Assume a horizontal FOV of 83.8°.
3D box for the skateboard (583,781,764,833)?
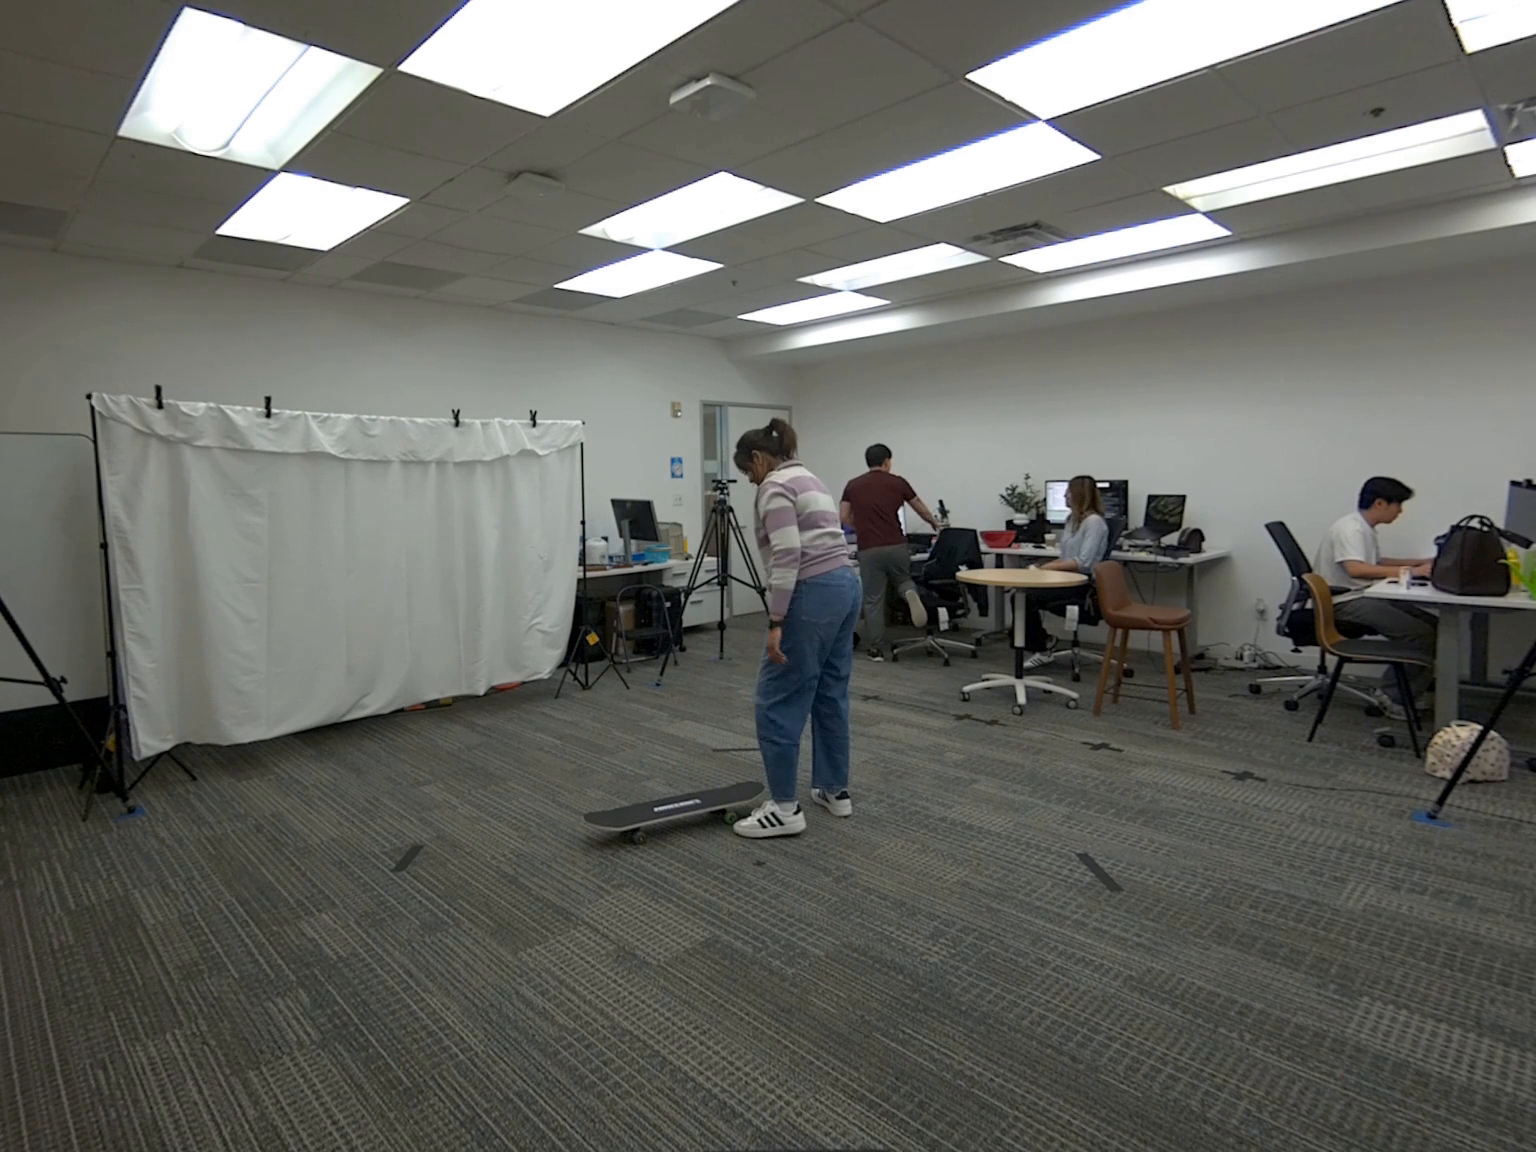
[{"bbox_3d":[-0.366,0.955,3.453,0.768,0.110,0.199,-4,6,-28],"label":"skateboard"}]
